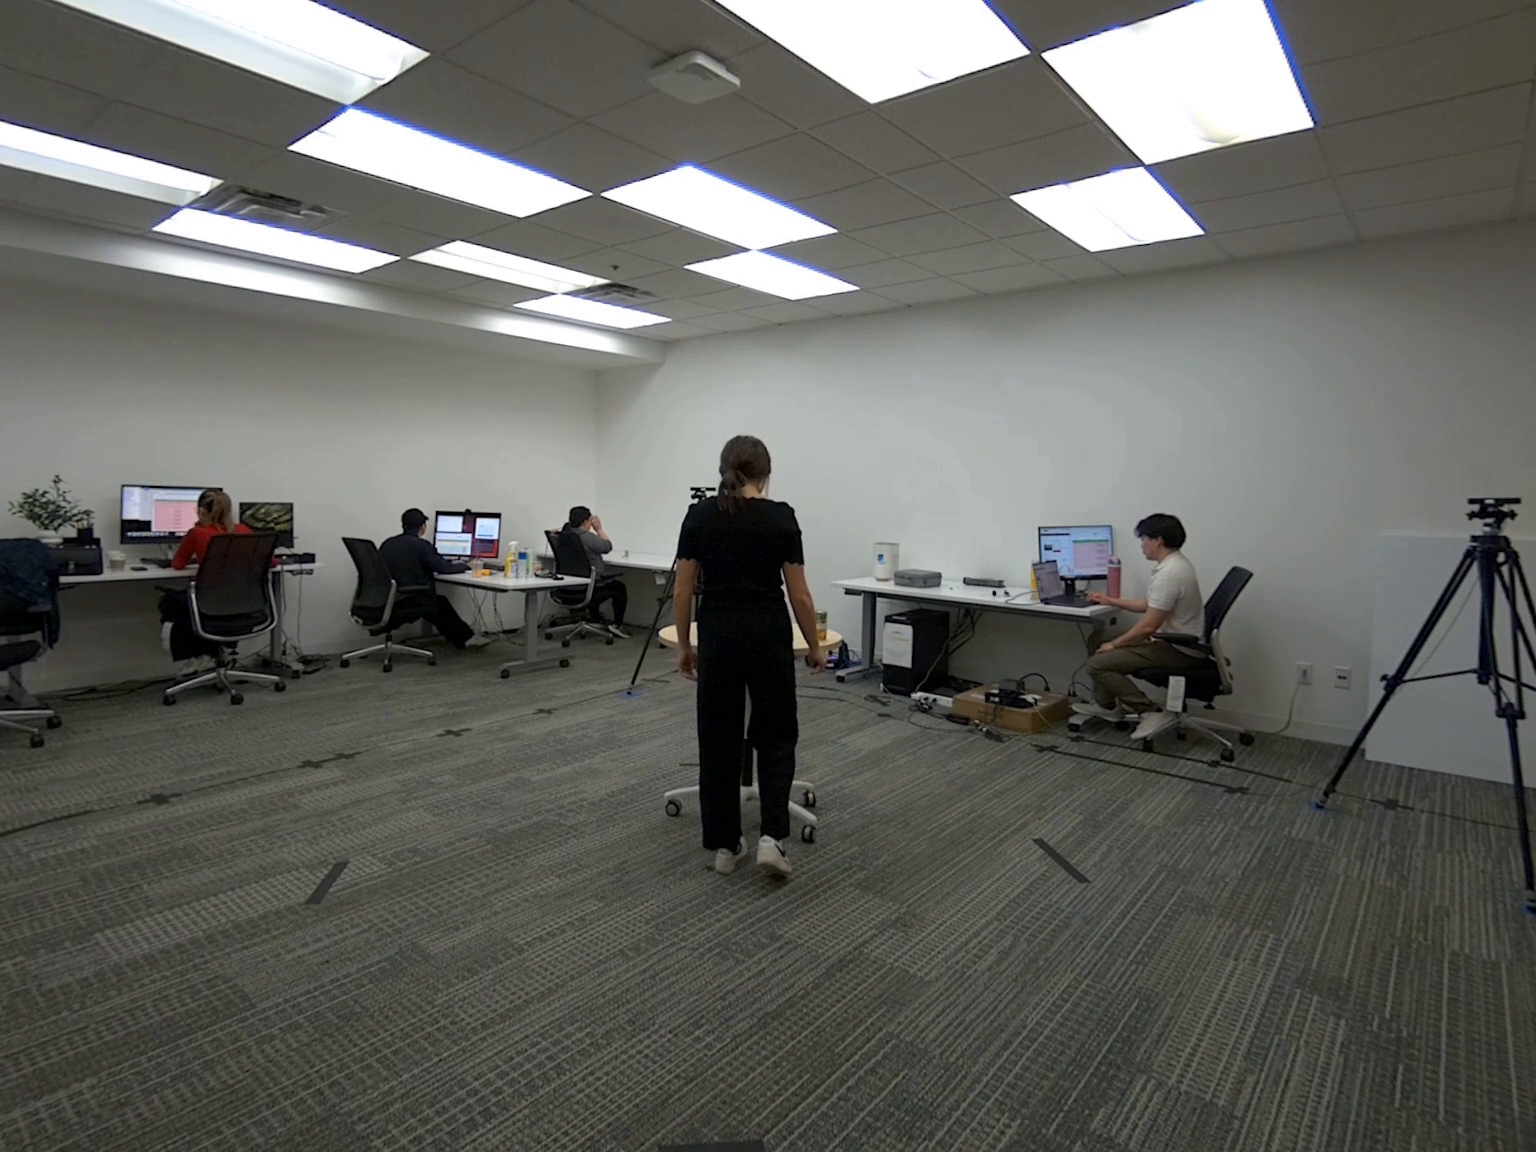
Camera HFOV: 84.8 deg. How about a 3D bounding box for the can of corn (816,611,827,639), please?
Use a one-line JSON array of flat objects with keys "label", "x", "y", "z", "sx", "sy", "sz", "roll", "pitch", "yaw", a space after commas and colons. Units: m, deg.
[{"label": "can of corn", "x": 0.190, "y": 0.197, "z": 3.456, "sx": 0.074, "sy": 0.111, "sz": 0.074, "roll": 3, "pitch": 2, "yaw": -2}]
